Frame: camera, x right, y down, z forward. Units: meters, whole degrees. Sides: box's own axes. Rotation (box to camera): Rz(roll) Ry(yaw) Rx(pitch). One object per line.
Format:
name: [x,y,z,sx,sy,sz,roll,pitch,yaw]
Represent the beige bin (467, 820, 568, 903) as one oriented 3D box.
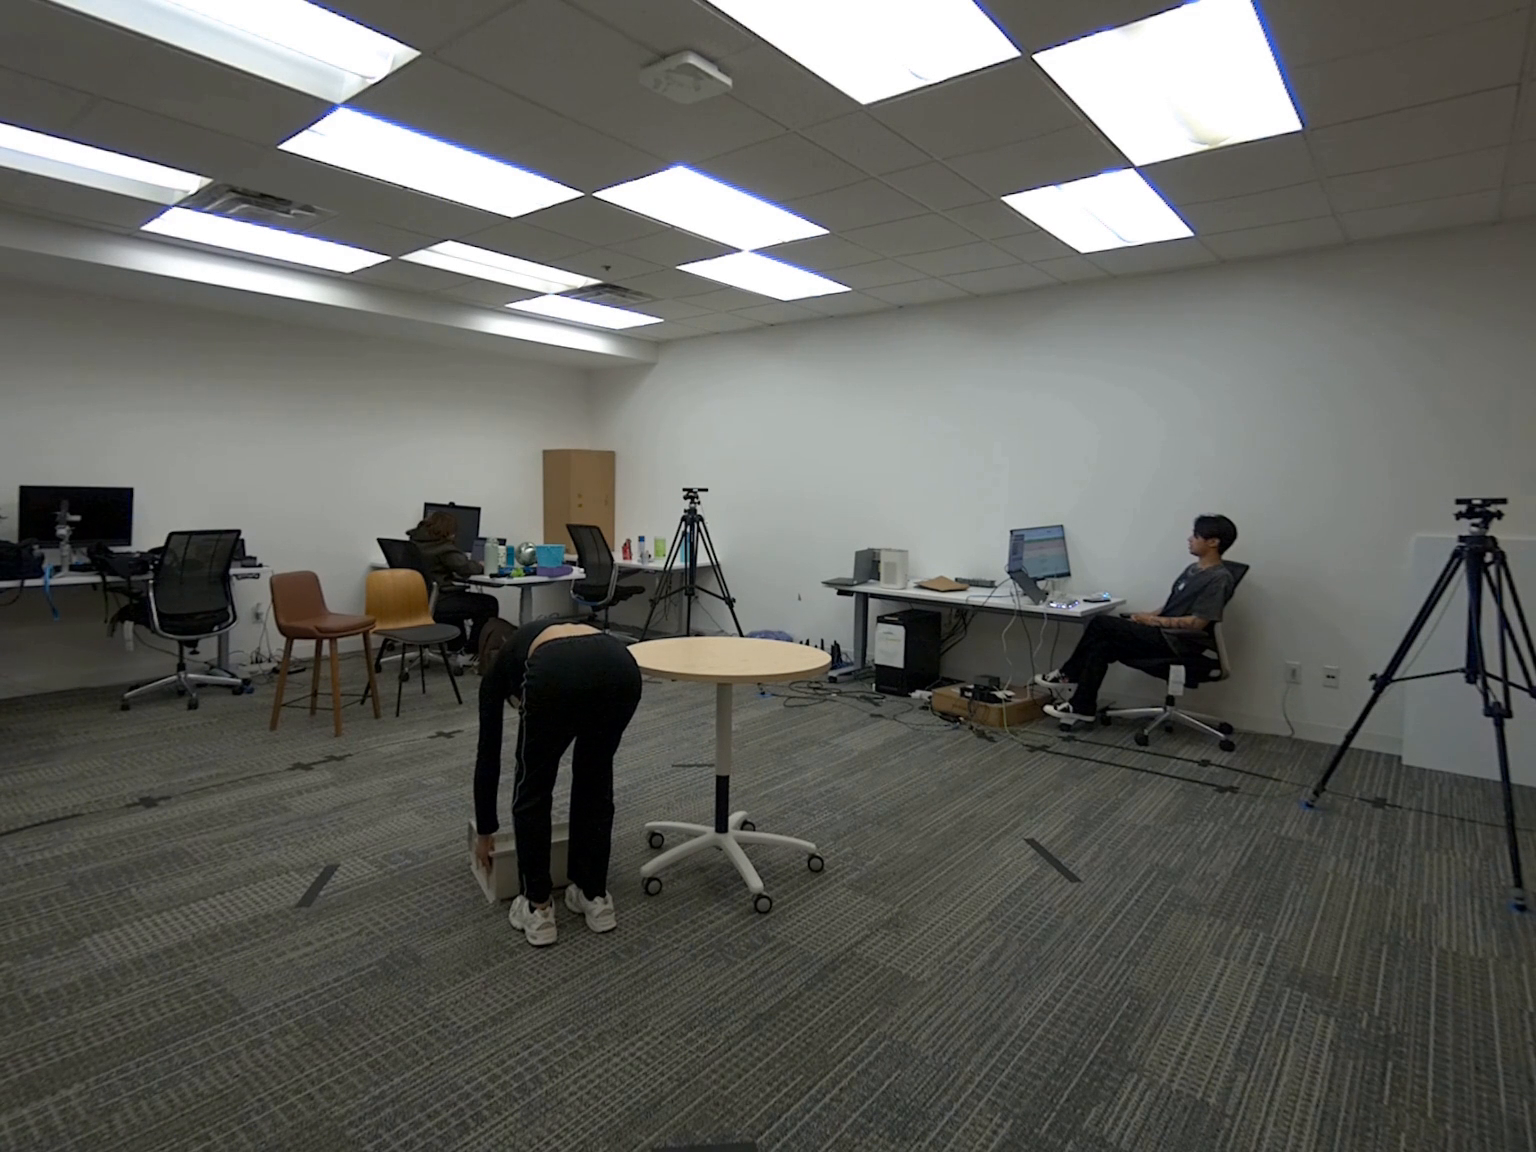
beige bin: [-0.840,0.964,3.060,0.411,0.188,0.389,0,5,-31]
